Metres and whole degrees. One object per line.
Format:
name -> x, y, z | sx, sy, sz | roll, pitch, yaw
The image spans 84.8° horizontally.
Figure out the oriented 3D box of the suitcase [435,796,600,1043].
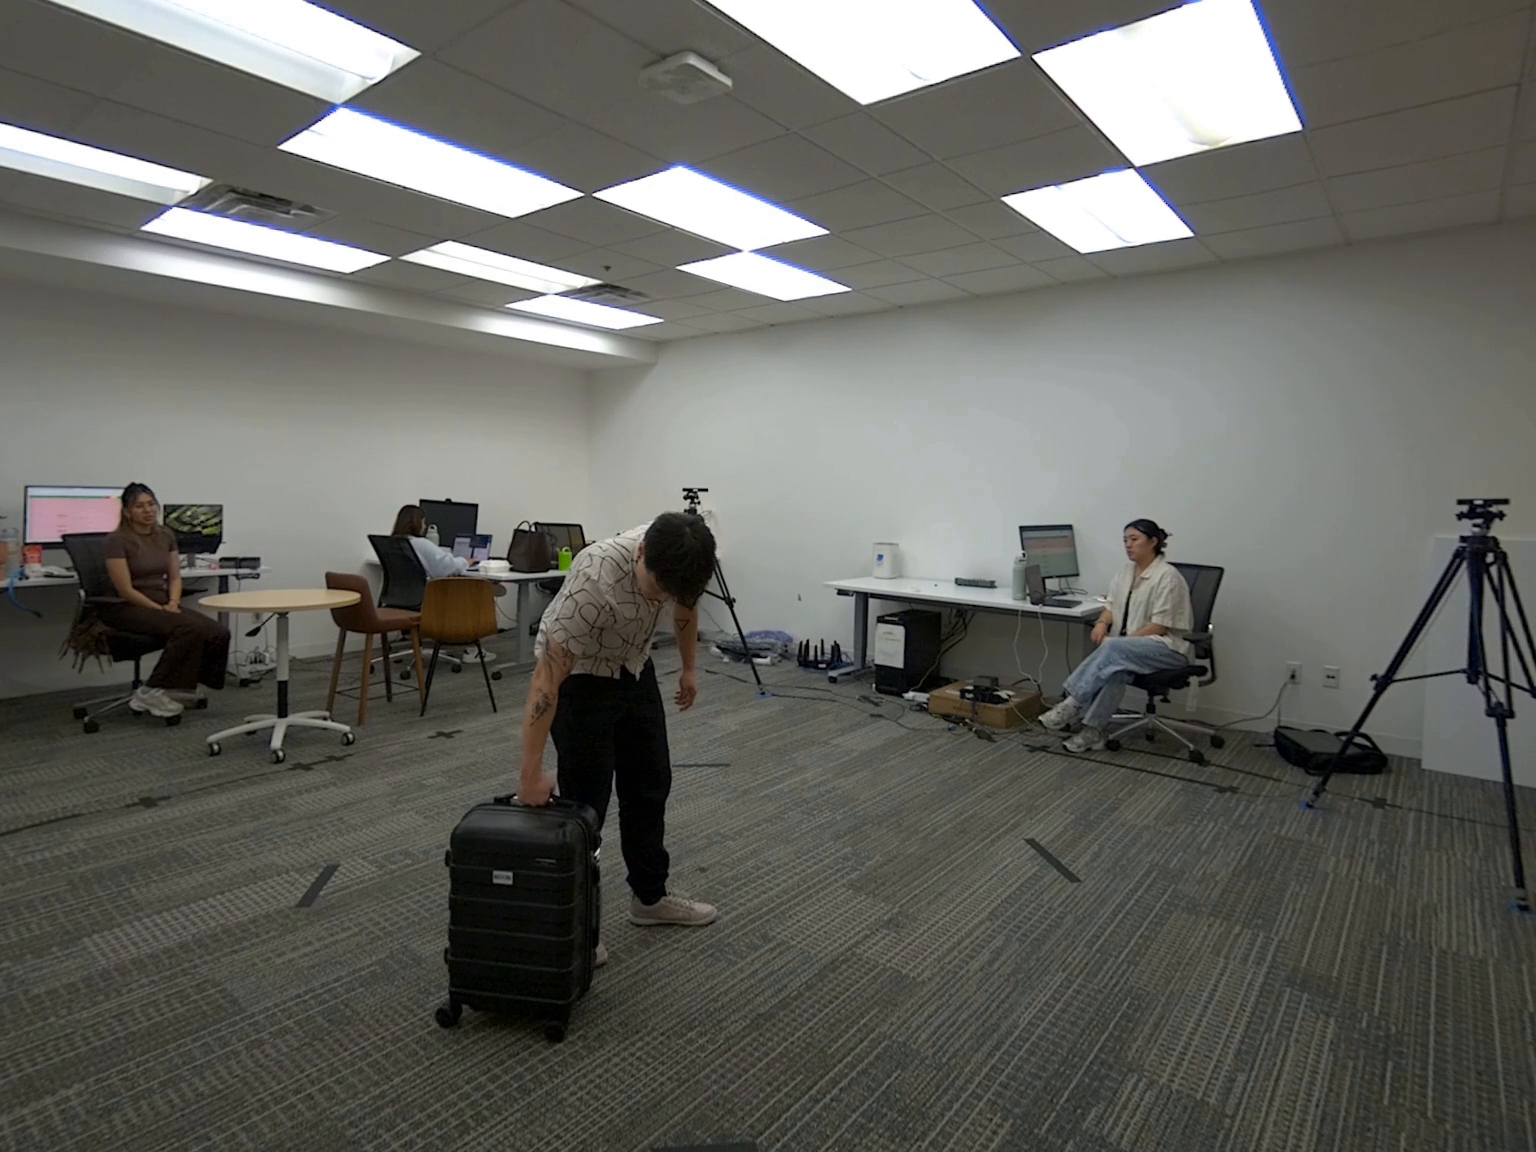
suitcase -> -0.648, 0.872, 2.252 | 0.378, 0.547, 0.247 | 2, 4, 6
